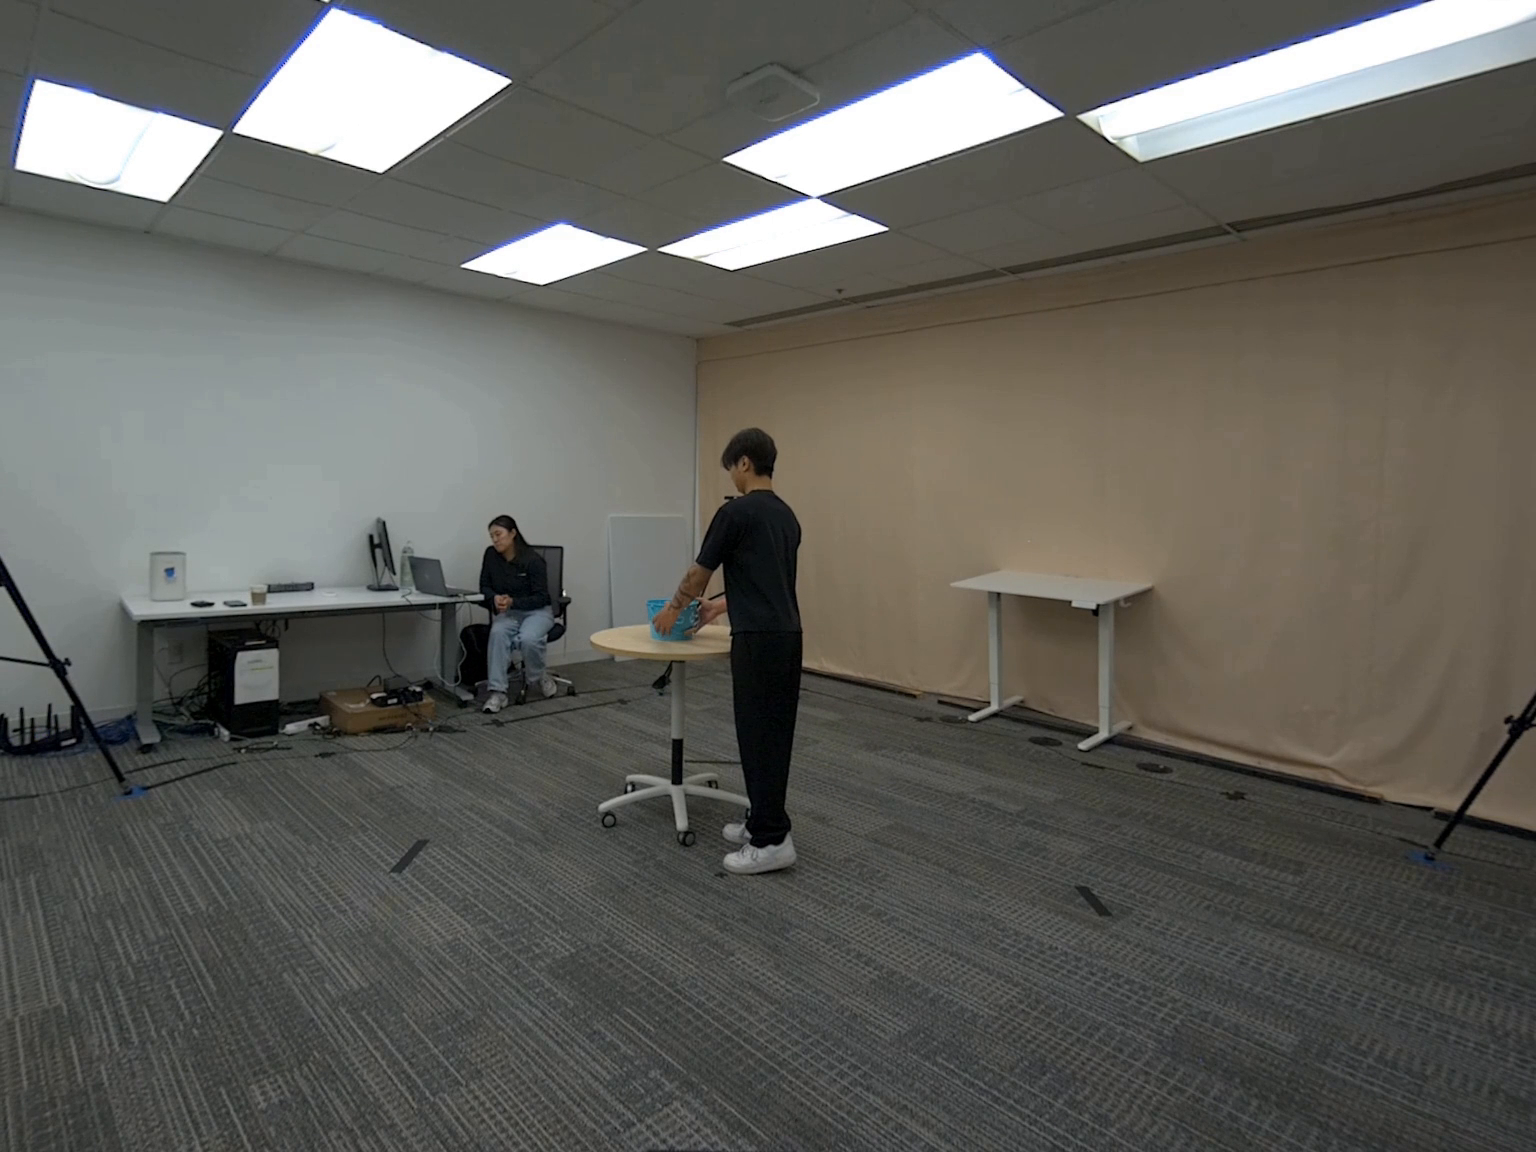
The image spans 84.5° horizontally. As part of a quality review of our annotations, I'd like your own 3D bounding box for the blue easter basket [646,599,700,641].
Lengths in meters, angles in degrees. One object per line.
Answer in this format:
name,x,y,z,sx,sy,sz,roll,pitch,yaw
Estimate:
blue easter basket,-0.421,0.190,3.653,0.243,0.155,0.244,1,5,-1
